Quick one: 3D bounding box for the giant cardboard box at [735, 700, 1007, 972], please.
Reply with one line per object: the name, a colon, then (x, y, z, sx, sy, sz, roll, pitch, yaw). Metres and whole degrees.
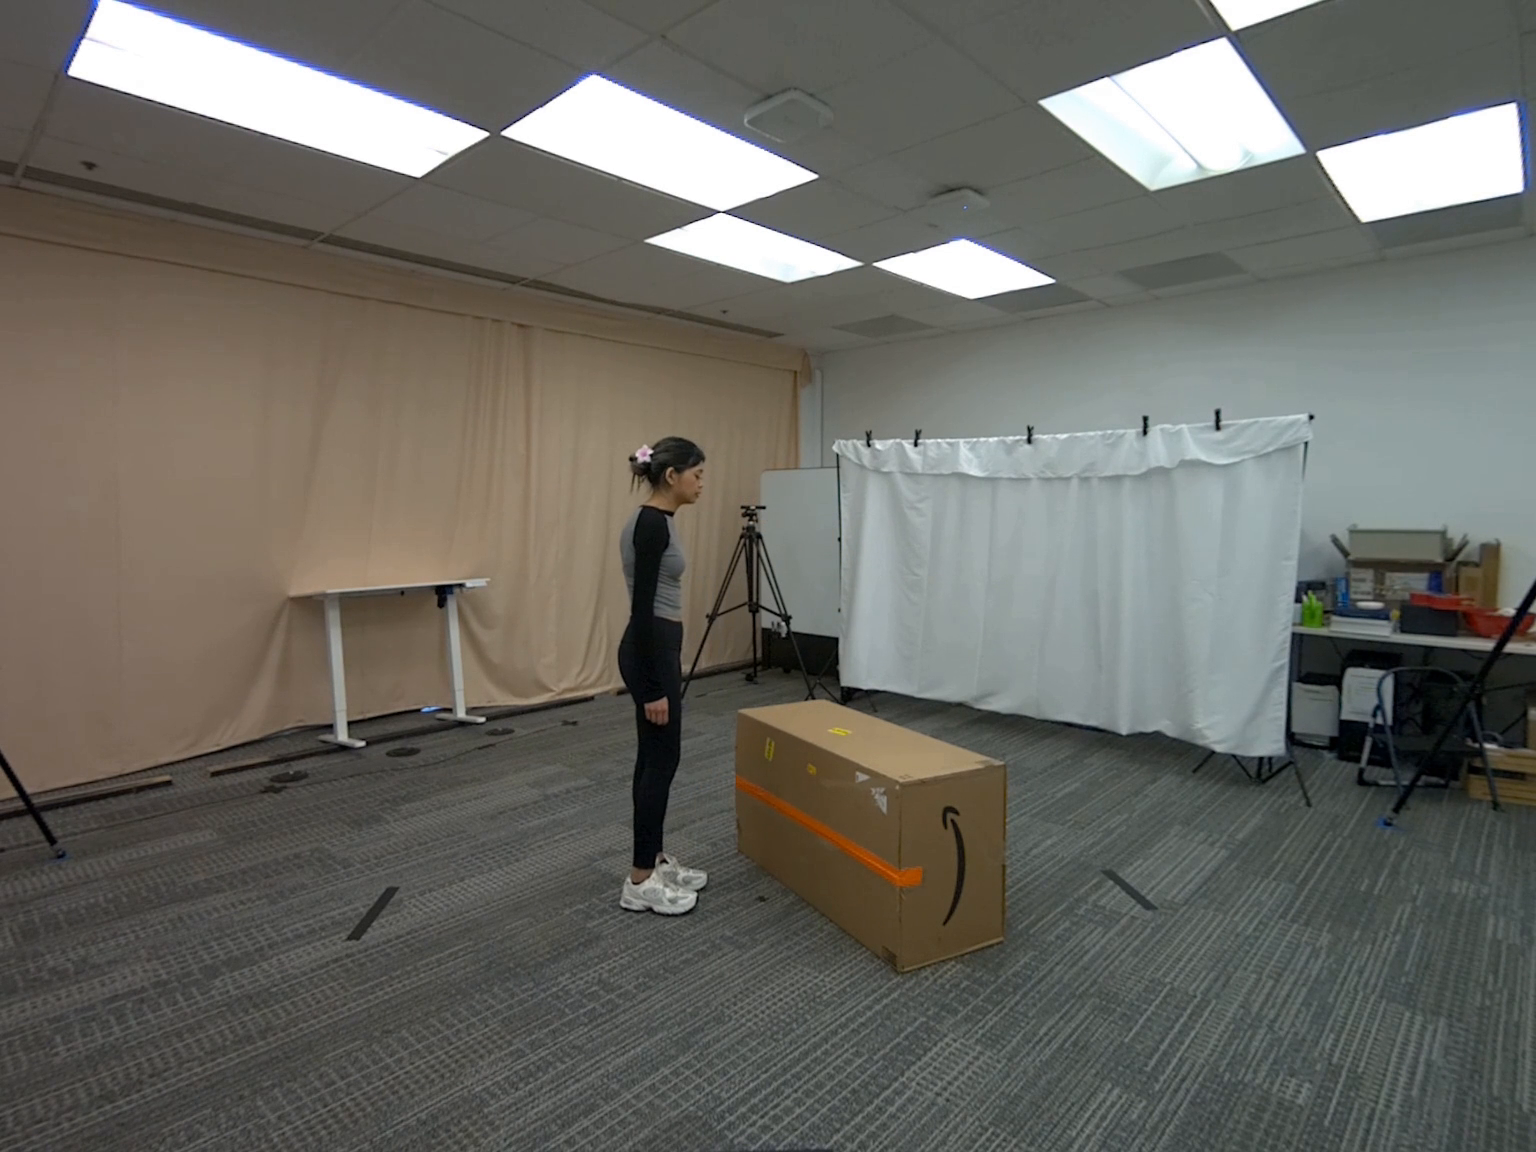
giant cardboard box: (0.316, 0.850, 3.032, 0.415, 0.576, 1.055, -2, 4, -29)
